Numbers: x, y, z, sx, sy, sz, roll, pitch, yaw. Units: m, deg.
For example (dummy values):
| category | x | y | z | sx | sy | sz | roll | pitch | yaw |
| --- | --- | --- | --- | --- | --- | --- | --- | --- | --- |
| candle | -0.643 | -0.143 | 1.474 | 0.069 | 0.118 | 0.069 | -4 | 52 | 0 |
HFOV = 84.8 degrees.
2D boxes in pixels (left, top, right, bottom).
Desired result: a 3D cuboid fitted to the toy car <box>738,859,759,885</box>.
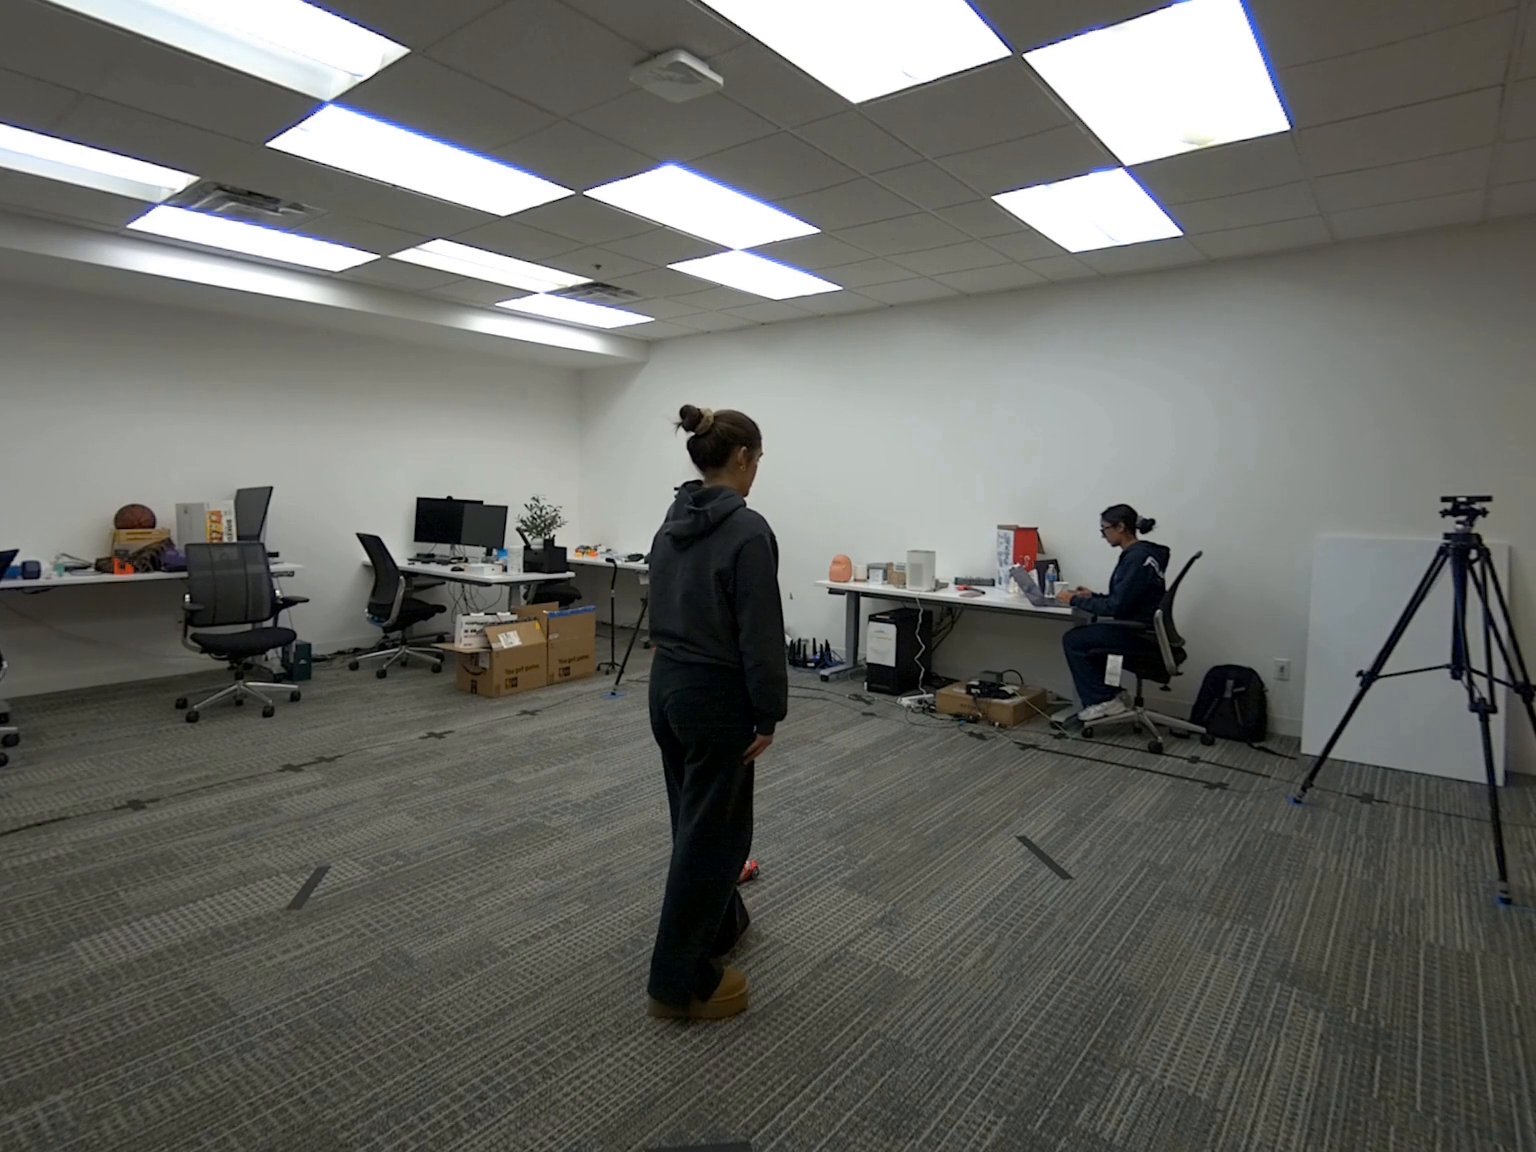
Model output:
| category | x | y | z | sx | sy | sz | roll | pitch | yaw |
| --- | --- | --- | --- | --- | --- | --- | --- | --- | --- |
| toy car | -0.138 | 1.044 | 2.994 | 0.135 | 0.083 | 0.245 | 5 | -4 | 41 |
